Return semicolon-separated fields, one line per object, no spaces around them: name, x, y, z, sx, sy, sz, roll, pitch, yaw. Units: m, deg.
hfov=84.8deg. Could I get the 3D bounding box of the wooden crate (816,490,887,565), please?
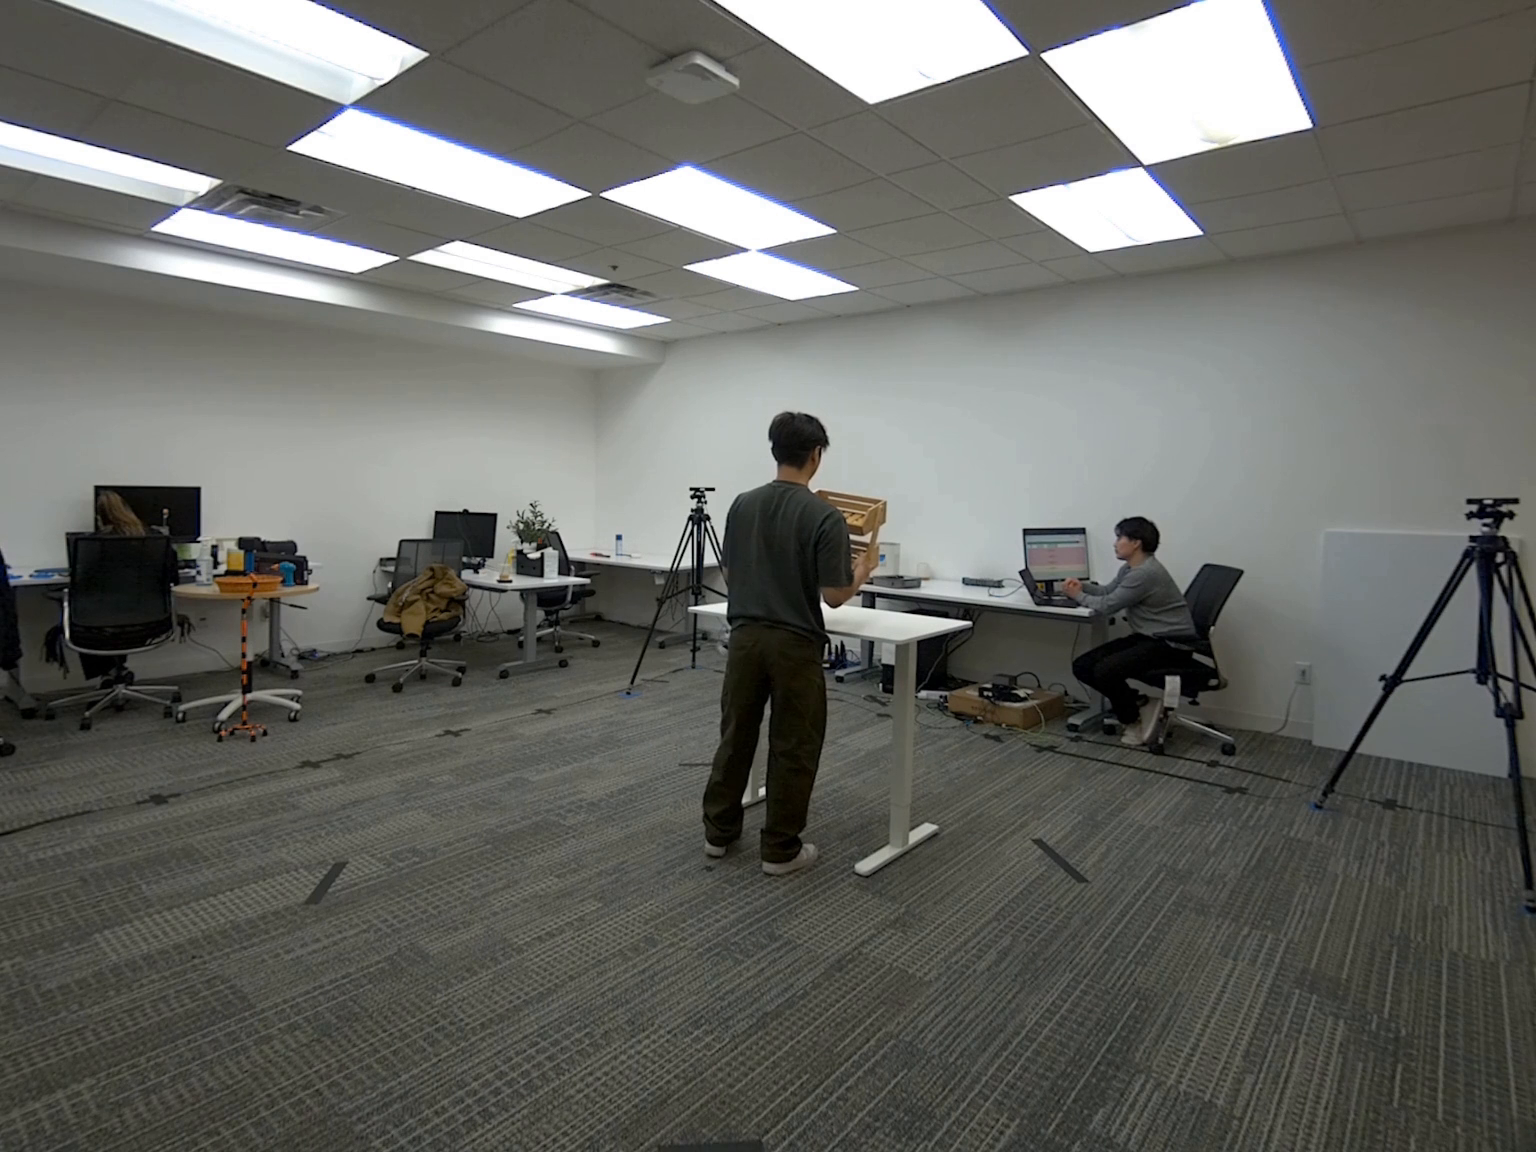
wooden crate;0.243;-0.162;3.298;0.335;0.268;0.297;13;25;32
